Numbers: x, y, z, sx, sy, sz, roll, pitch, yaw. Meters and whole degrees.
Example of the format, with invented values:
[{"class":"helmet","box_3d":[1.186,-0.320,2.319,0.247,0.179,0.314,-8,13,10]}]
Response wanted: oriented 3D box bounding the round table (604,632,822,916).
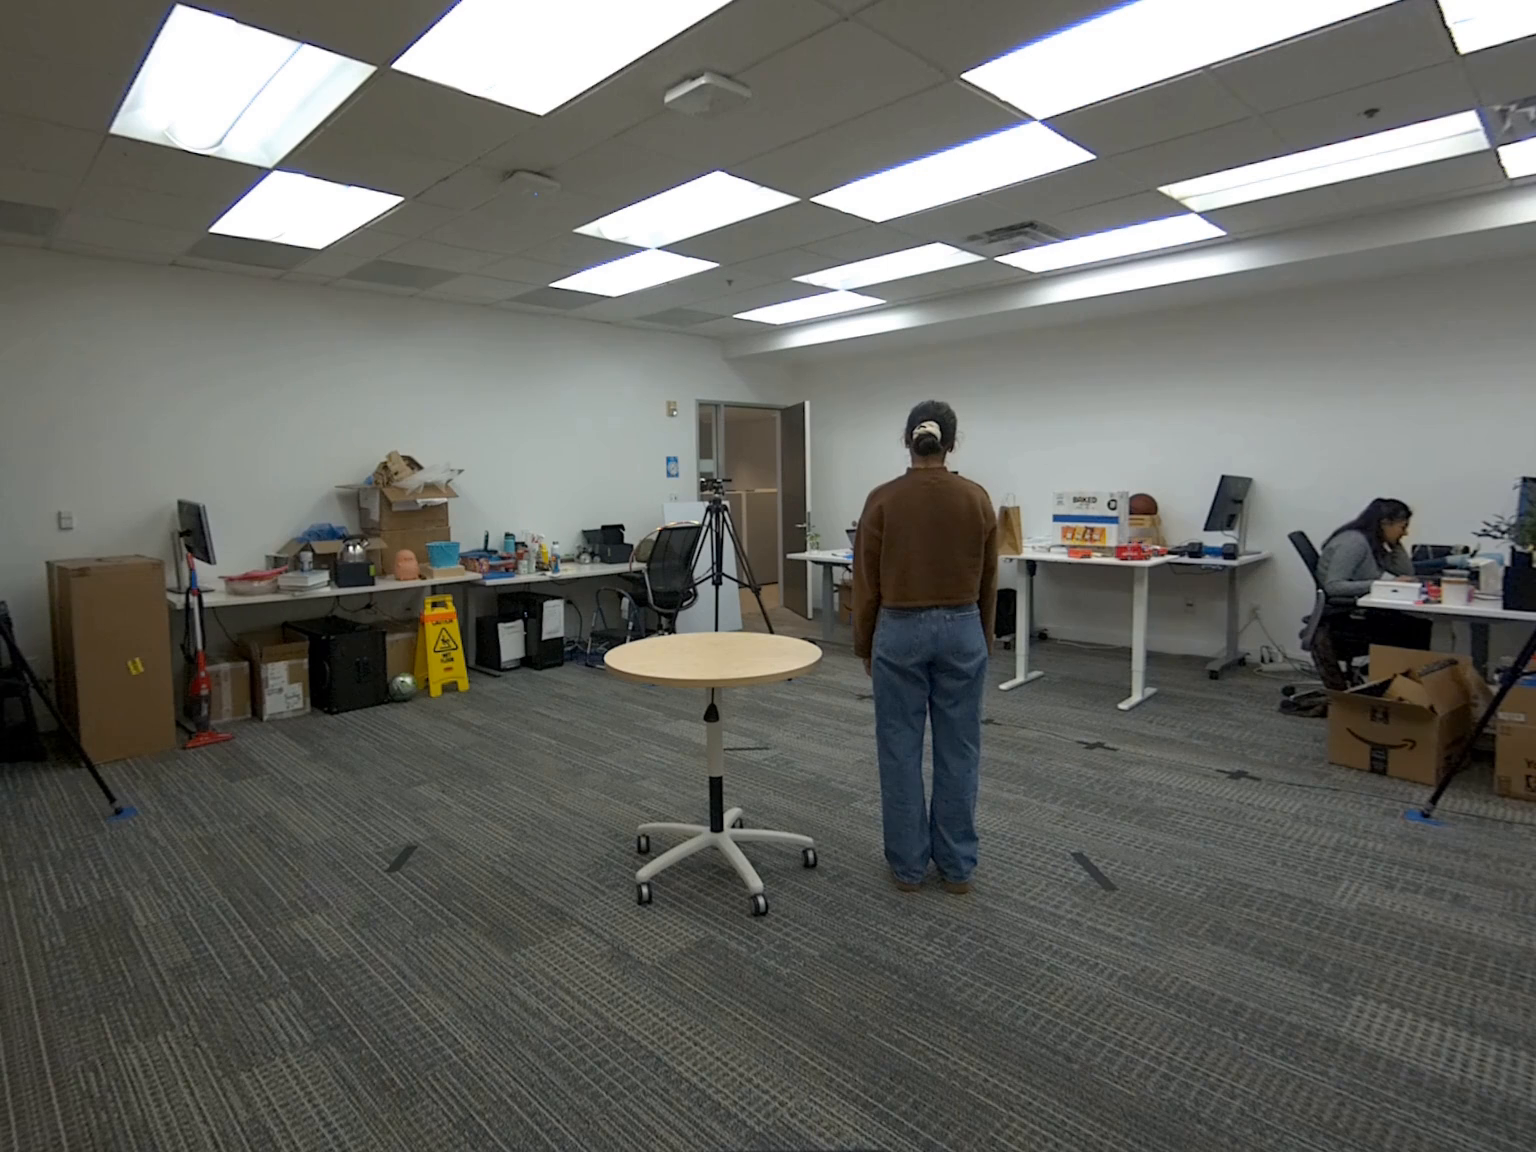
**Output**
[{"class":"round table","box_3d":[-0.178,0.665,3.033,0.763,0.791,0.768,-1,5,-2]}]
